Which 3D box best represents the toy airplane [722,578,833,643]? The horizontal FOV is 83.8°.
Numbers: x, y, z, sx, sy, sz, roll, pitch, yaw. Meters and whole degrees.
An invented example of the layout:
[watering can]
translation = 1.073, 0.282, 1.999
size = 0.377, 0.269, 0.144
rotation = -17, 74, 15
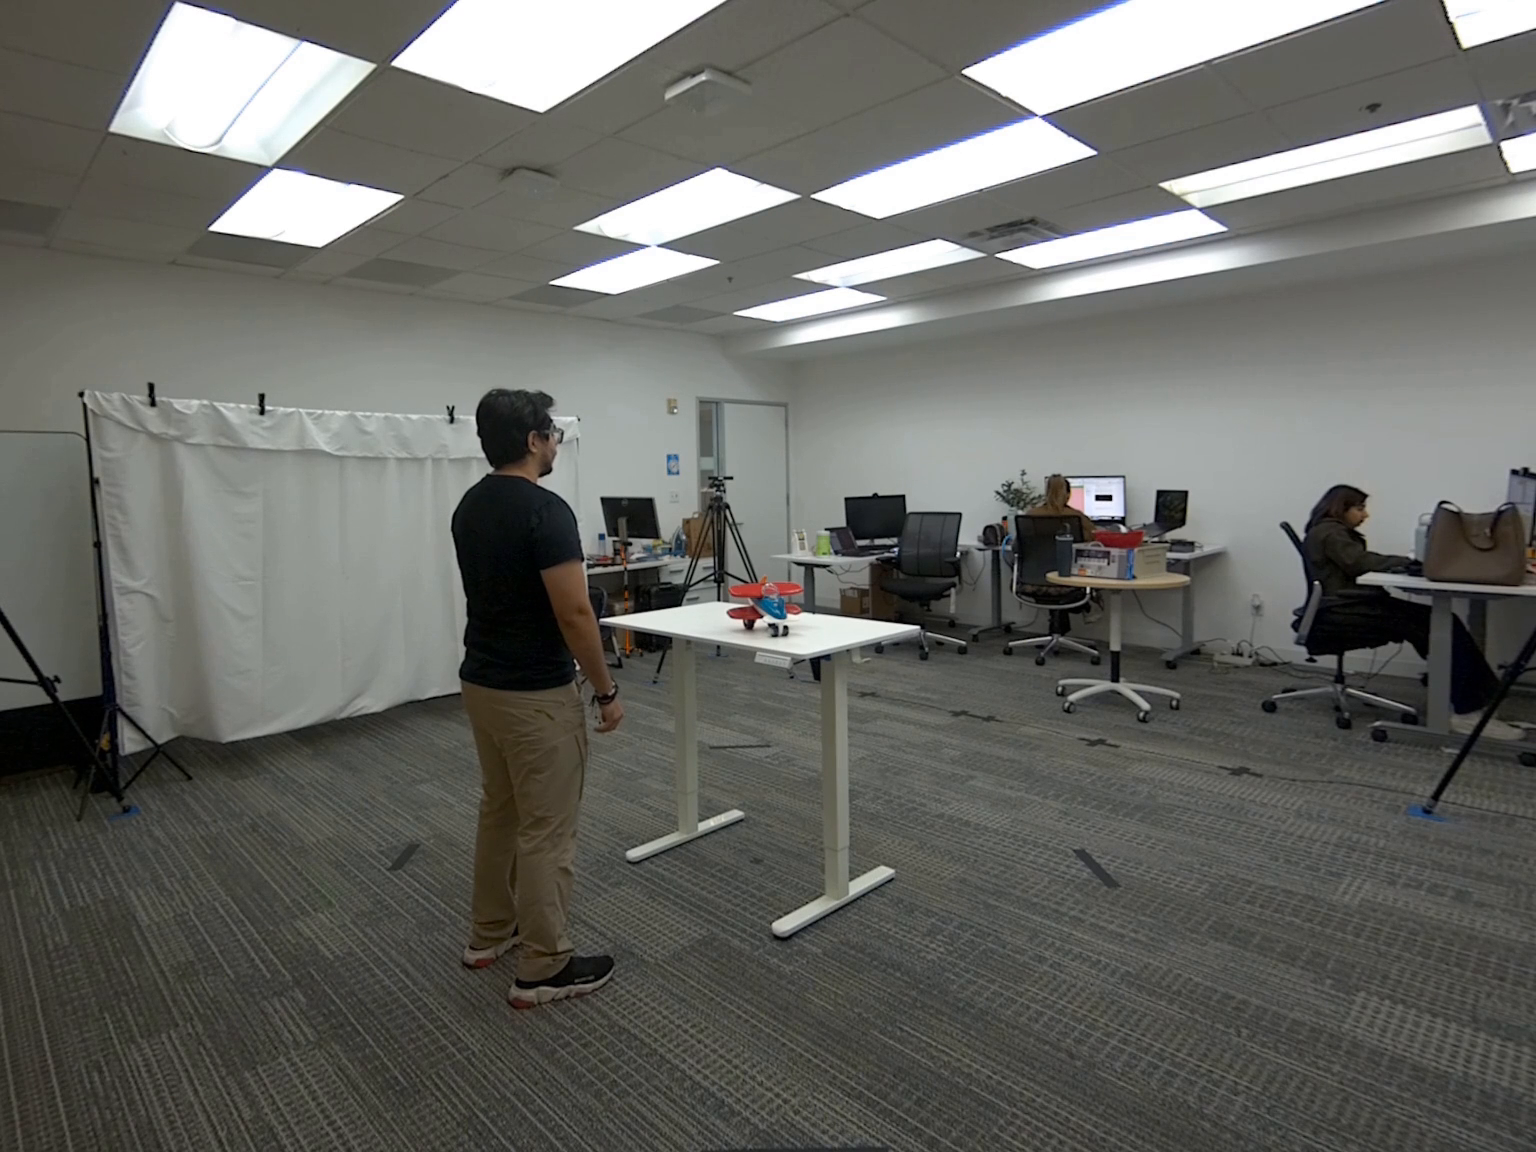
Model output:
[toy airplane]
translation = 0.030, 0.105, 2.818
size = 0.267, 0.156, 0.245
rotation = 4, 8, 43
